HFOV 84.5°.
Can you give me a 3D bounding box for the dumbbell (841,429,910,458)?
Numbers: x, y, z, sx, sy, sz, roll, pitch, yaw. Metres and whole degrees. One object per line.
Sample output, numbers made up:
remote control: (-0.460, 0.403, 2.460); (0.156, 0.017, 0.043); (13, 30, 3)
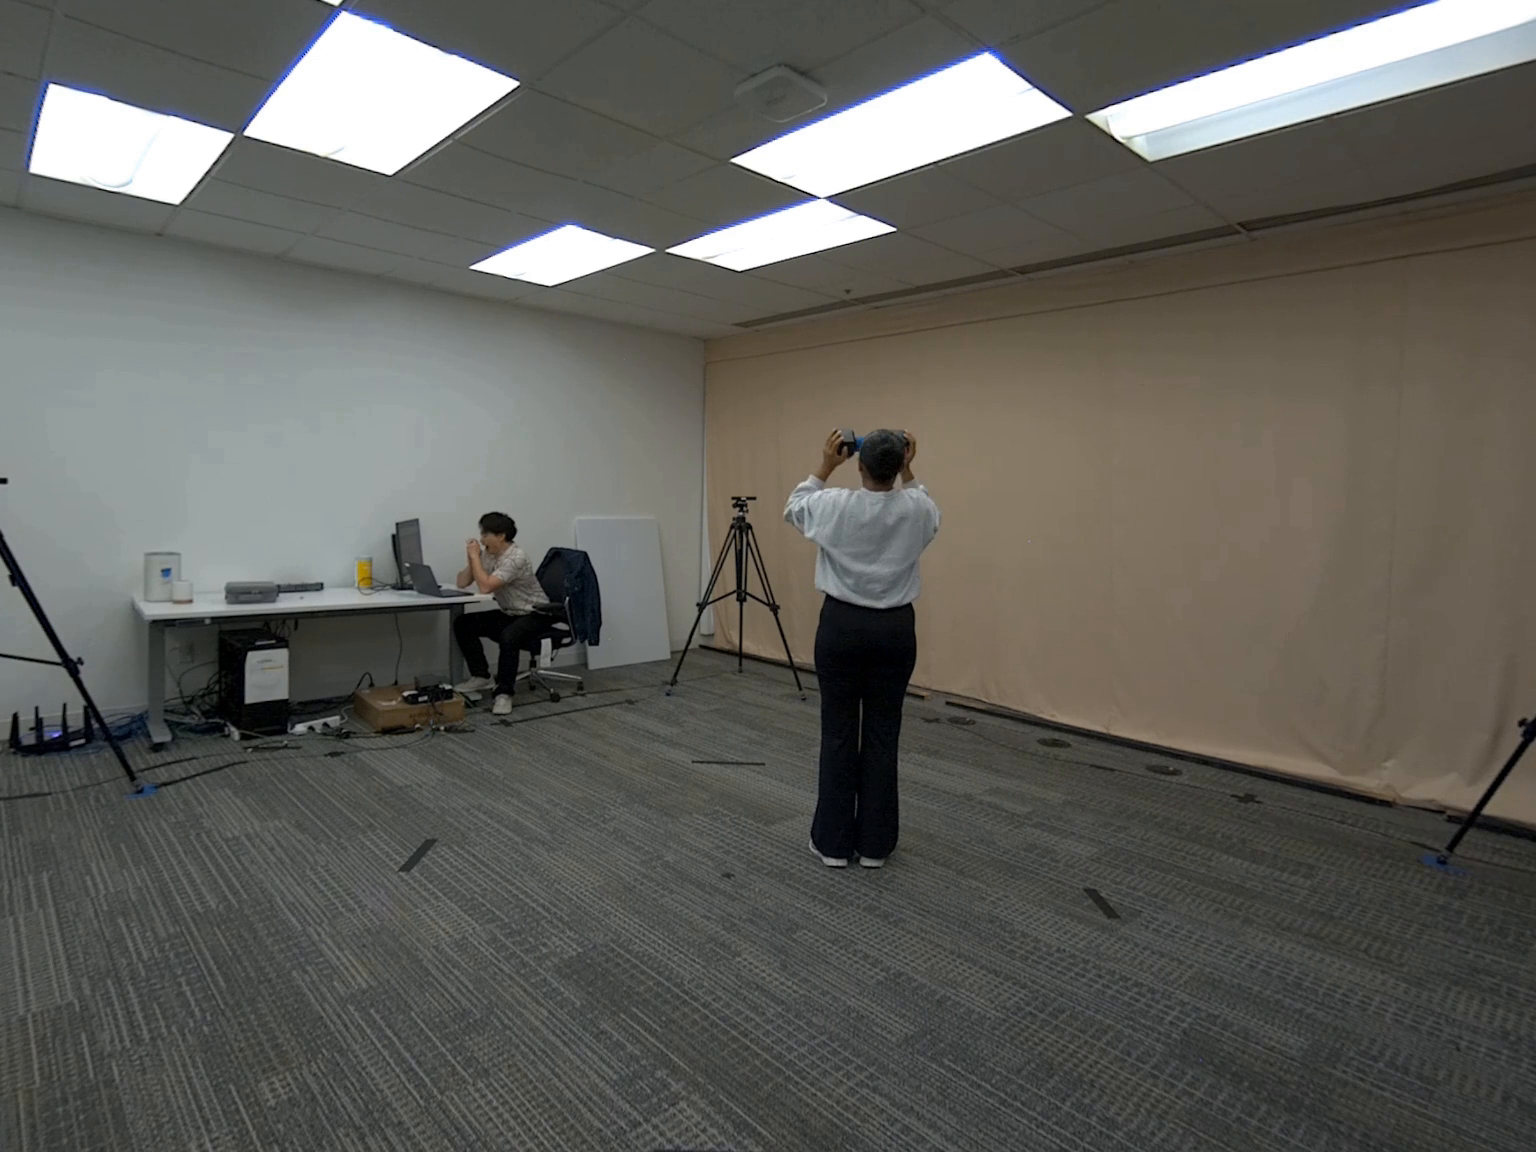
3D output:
dumbbell: (0.394, -0.524, 3.287); (0.293, 0.126, 0.106); (0, -41, -4)
